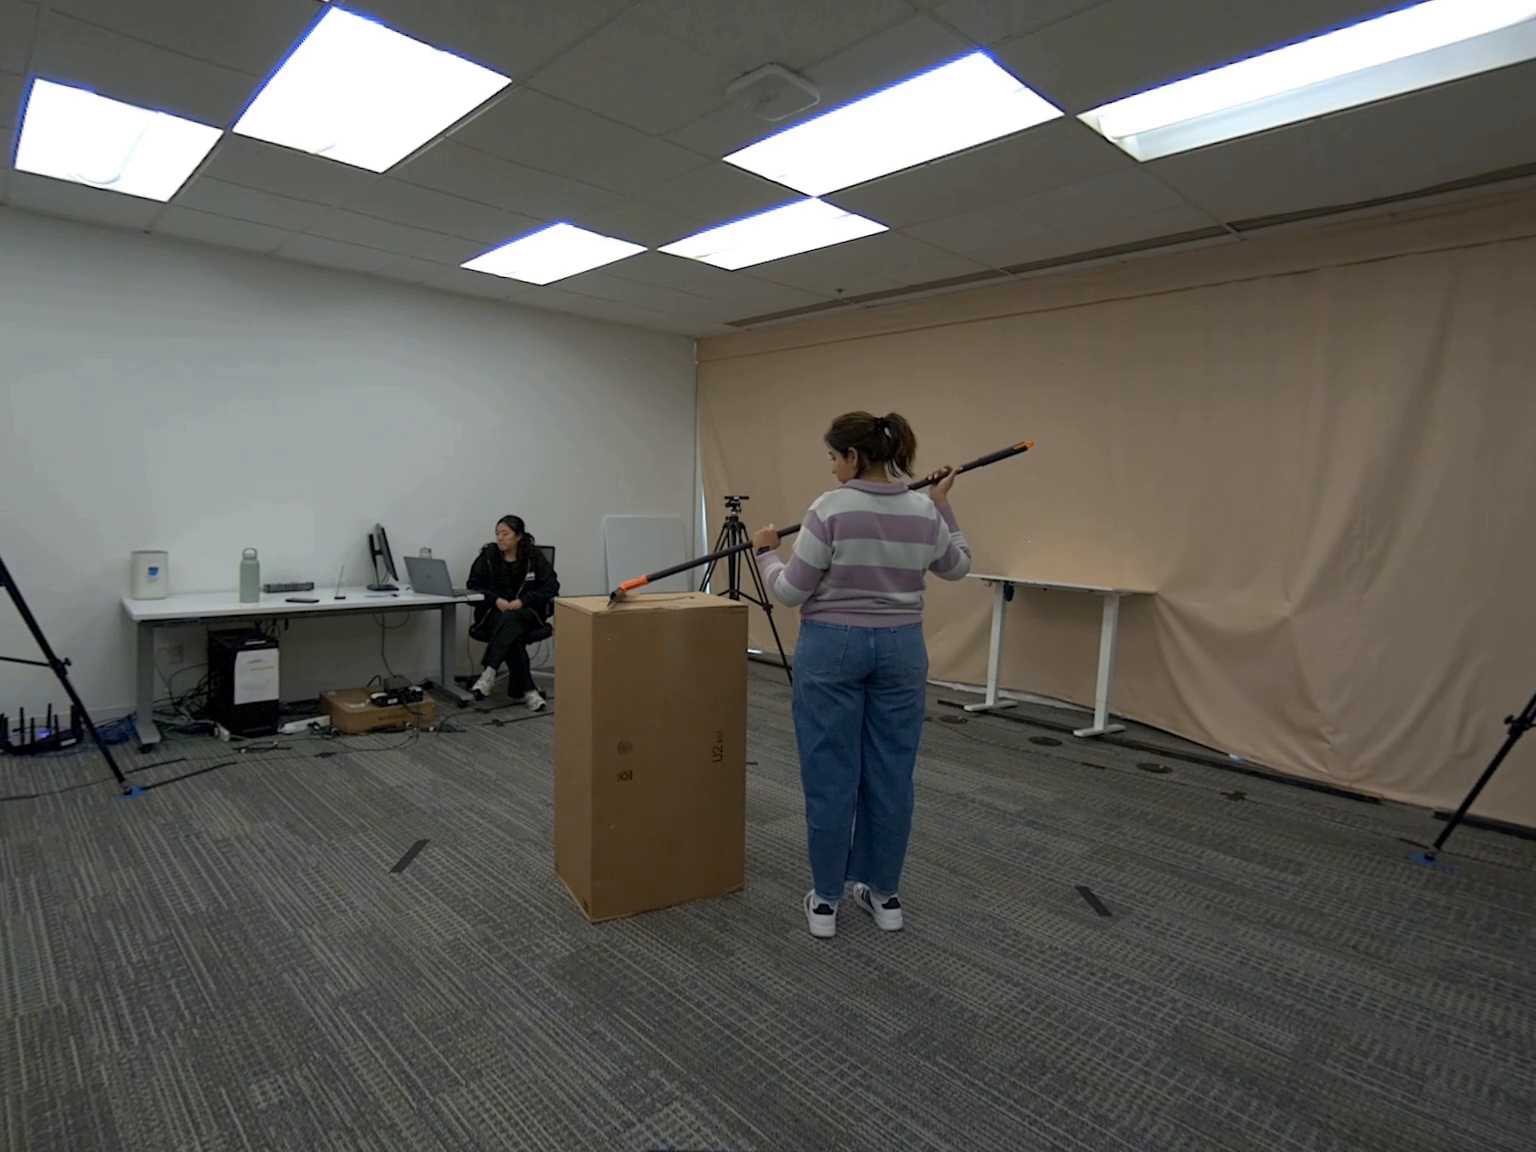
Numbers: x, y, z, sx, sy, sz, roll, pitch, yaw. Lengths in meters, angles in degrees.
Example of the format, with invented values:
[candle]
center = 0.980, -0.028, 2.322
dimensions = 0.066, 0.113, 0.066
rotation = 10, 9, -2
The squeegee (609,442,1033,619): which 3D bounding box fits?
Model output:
[squeegee]
center = 0.200, -0.201, 2.946
dimensions = 1.539, 0.053, 0.438
rotation = -21, 3, 2
